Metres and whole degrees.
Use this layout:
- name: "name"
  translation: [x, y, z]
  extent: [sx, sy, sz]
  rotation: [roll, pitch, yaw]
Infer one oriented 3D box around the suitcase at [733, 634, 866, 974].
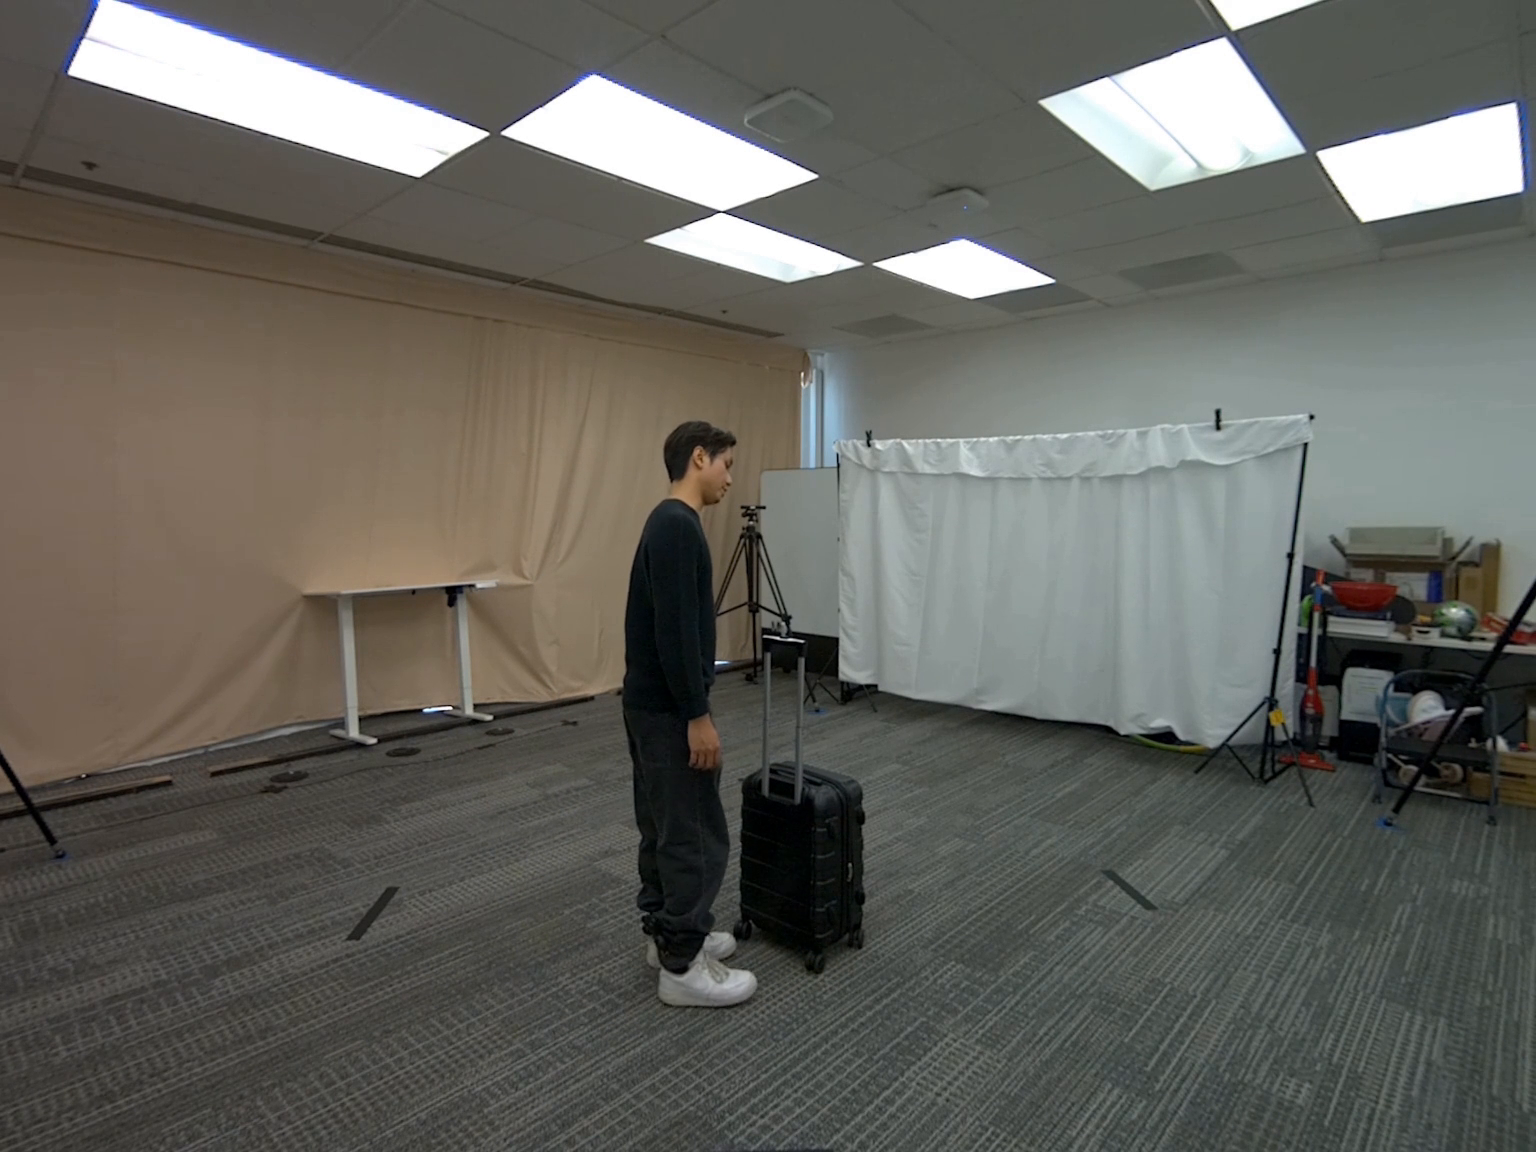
- name: "suitcase"
  translation: [0.114, 0.693, 2.690]
  extent: [0.397, 0.978, 0.249]
  rotation: [2, 1, 42]
